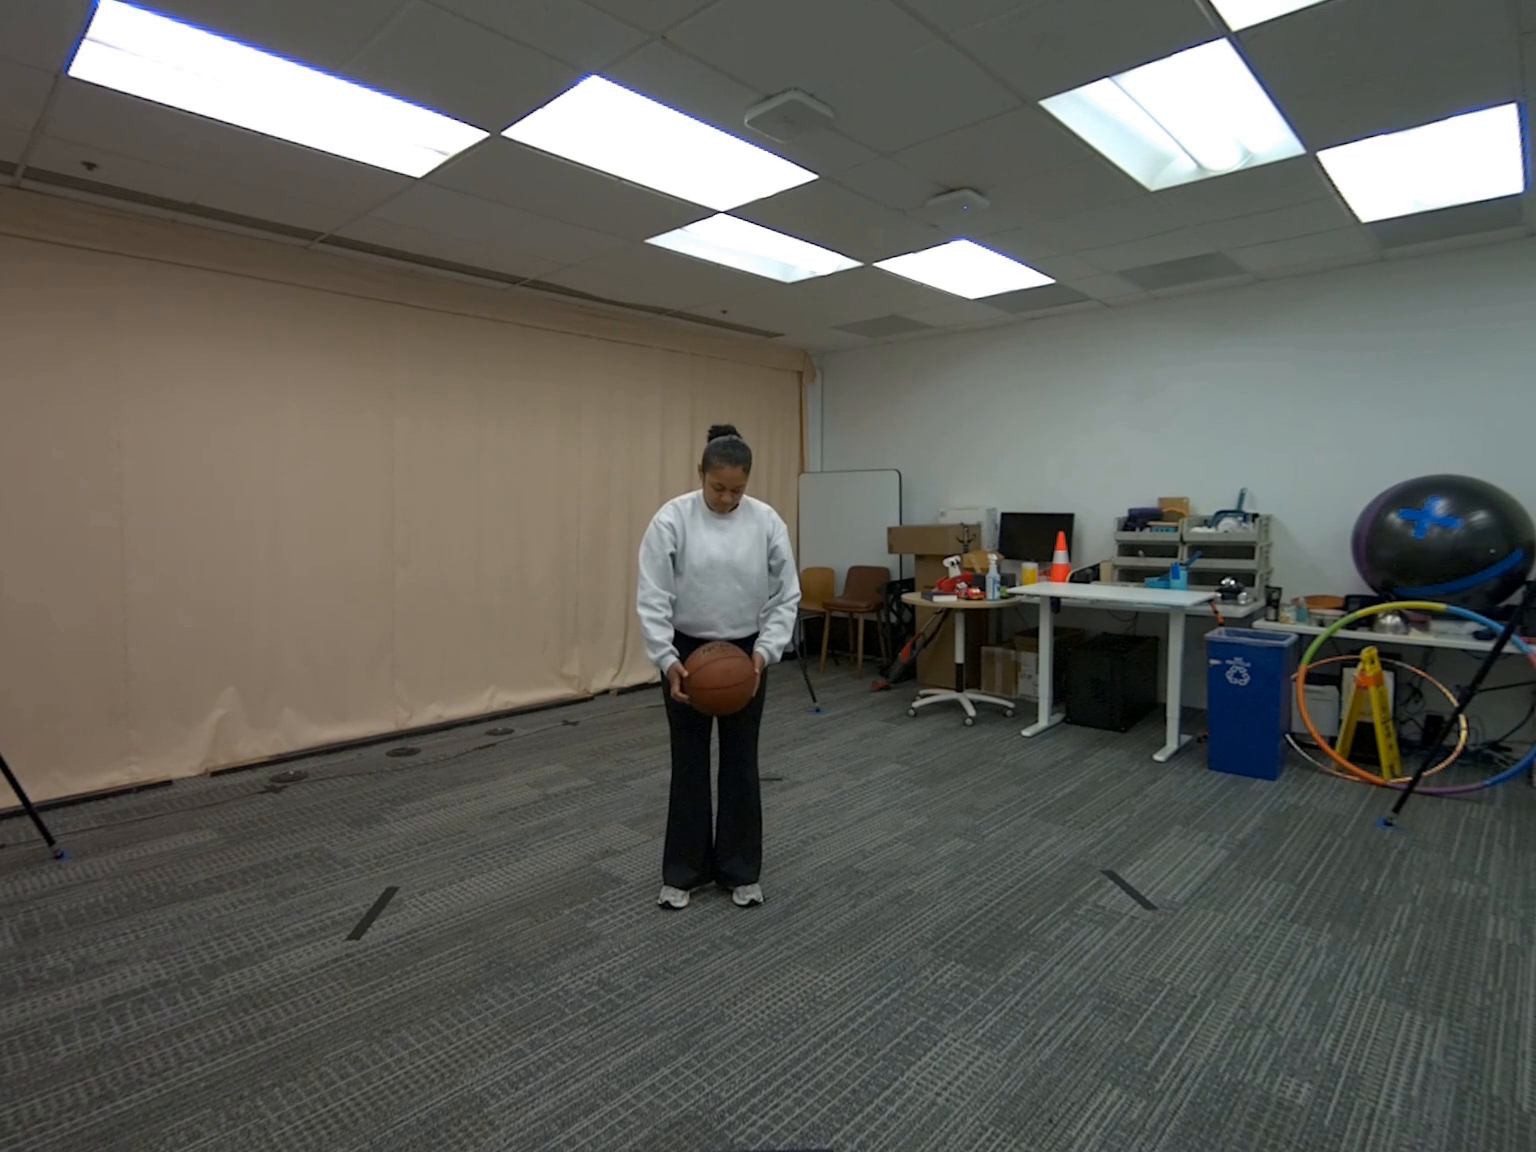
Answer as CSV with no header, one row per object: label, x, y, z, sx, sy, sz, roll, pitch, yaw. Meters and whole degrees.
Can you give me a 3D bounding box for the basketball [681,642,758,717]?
basketball,-0.152,0.340,2.715,0.236,0.235,0.237,0,4,-2
